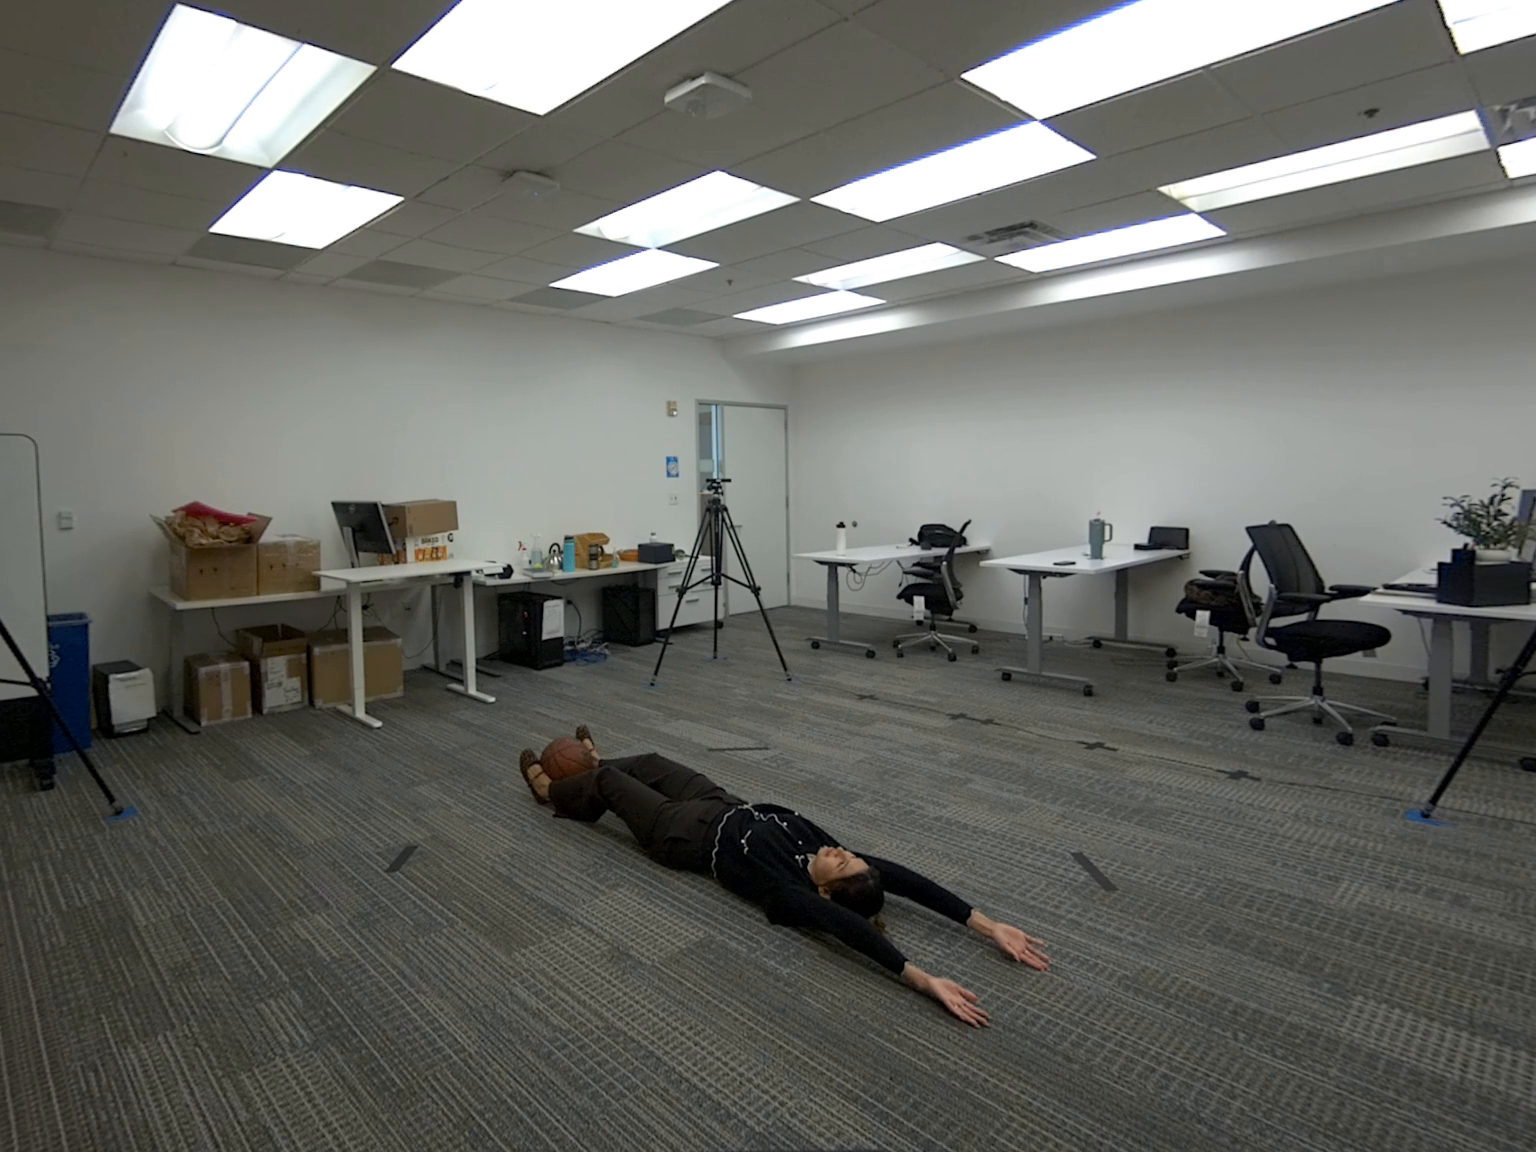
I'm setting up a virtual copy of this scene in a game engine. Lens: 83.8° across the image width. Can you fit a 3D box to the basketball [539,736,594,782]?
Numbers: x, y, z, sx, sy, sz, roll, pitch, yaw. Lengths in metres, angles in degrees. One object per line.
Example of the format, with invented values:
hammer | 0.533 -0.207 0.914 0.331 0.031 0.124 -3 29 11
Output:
basketball | -0.896 0.832 3.810 0.236 0.235 0.237 -1 5 -2
